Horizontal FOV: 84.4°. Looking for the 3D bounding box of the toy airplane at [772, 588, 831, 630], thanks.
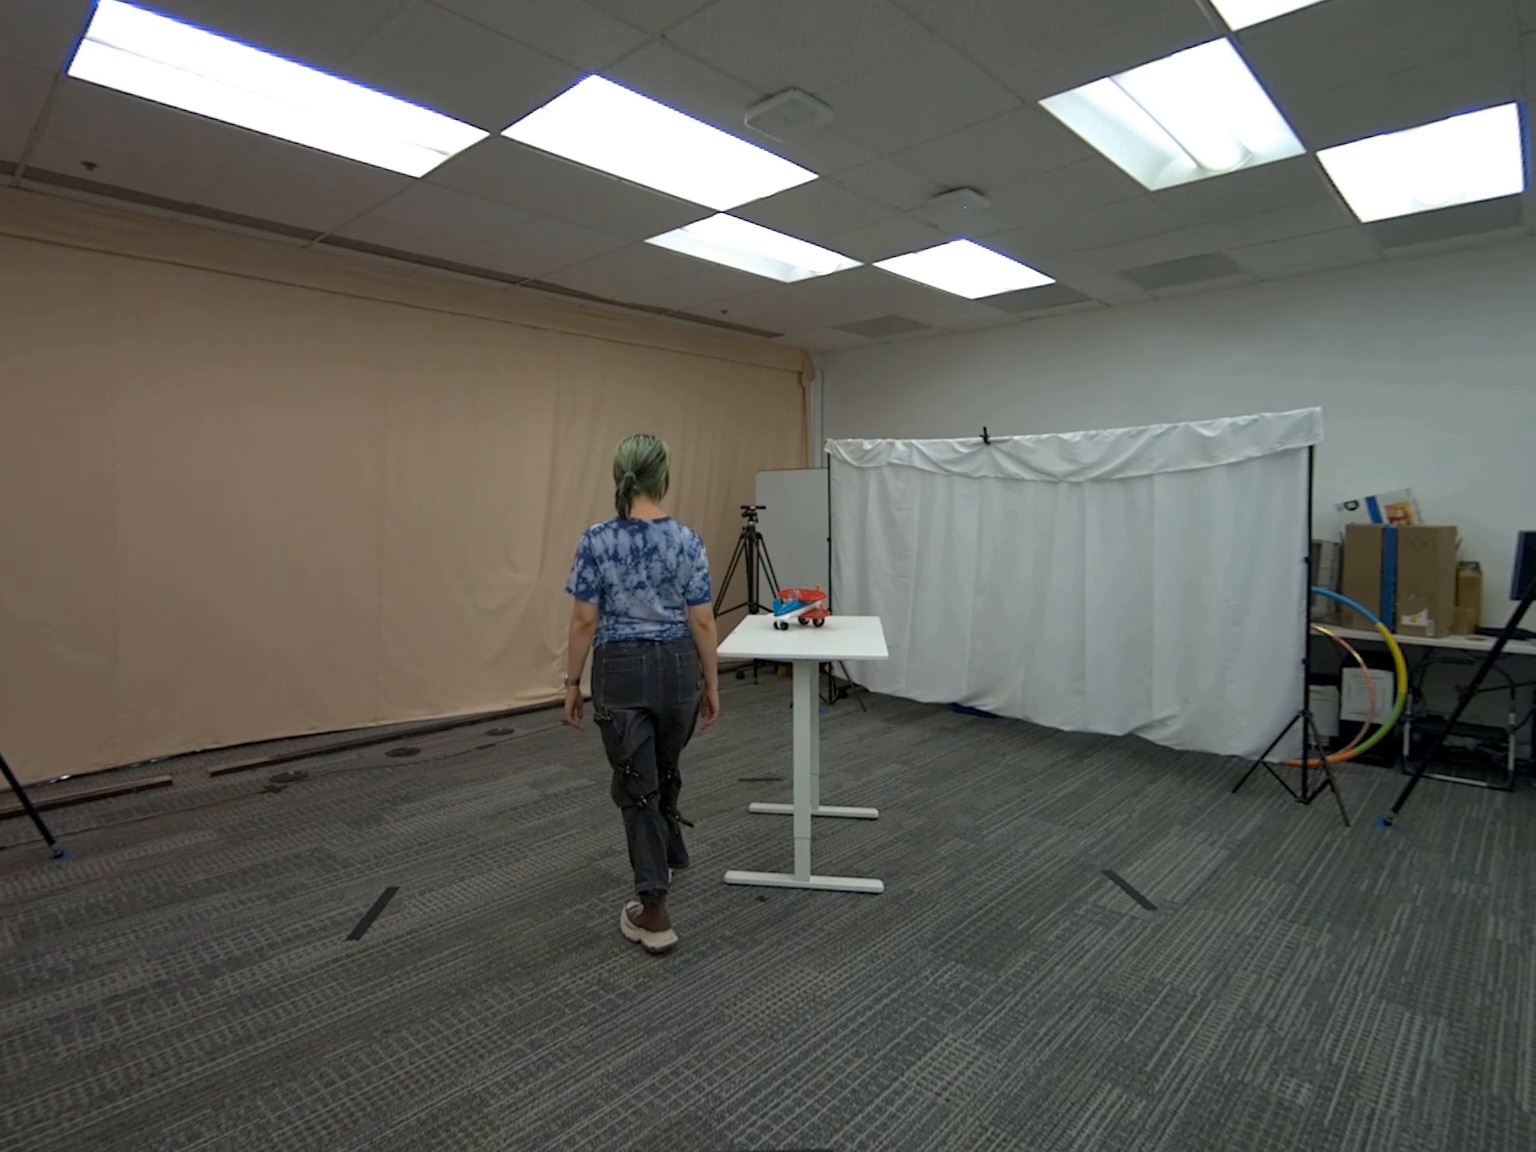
[{"bbox_3d":[0.141,0.142,3.514,0.257,0.156,0.254,0,4,21],"label":"toy airplane"}]
